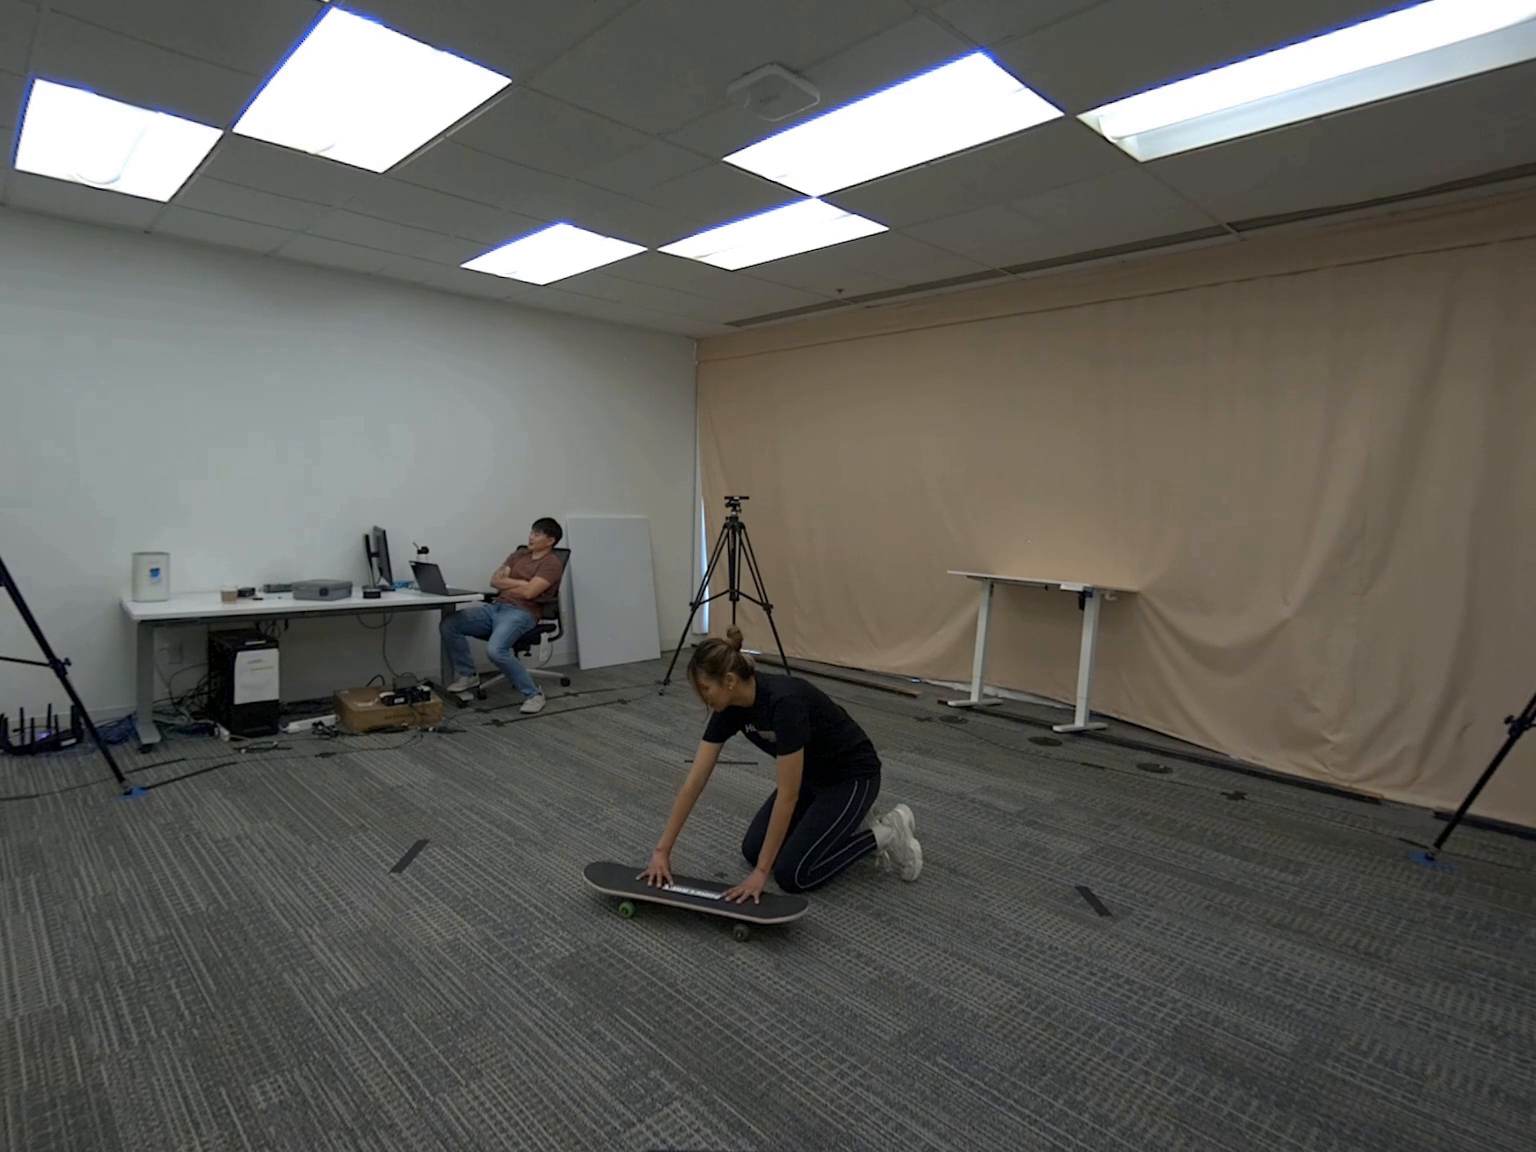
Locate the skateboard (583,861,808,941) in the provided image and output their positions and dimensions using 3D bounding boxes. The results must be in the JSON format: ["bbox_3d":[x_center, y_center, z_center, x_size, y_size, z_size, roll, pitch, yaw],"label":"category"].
[{"bbox_3d":[-0.251,1.072,2.777,0.797,0.110,0.191,2,3,18],"label":"skateboard"}]
